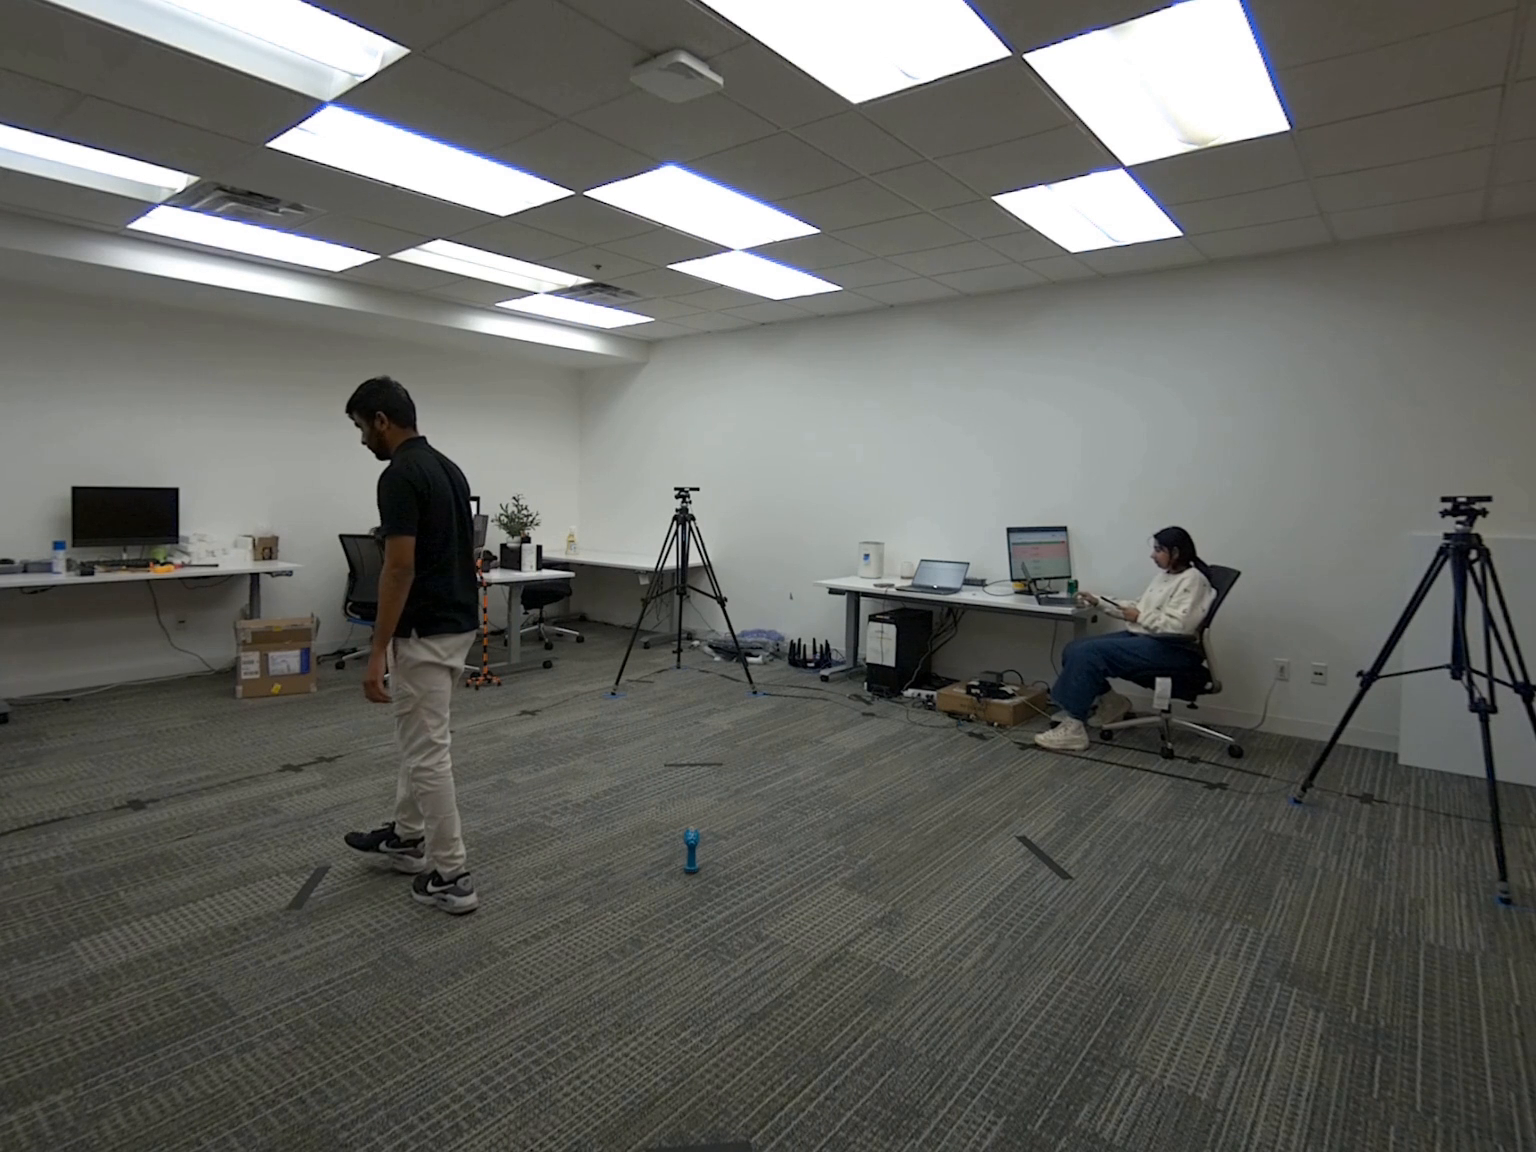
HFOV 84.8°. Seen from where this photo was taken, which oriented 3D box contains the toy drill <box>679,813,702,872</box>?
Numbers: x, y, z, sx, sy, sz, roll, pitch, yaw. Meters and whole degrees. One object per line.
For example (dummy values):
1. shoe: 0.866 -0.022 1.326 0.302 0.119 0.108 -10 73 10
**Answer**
1. toy drill: -0.289 0.985 3.119 0.060 0.146 0.172 3 4 -10
